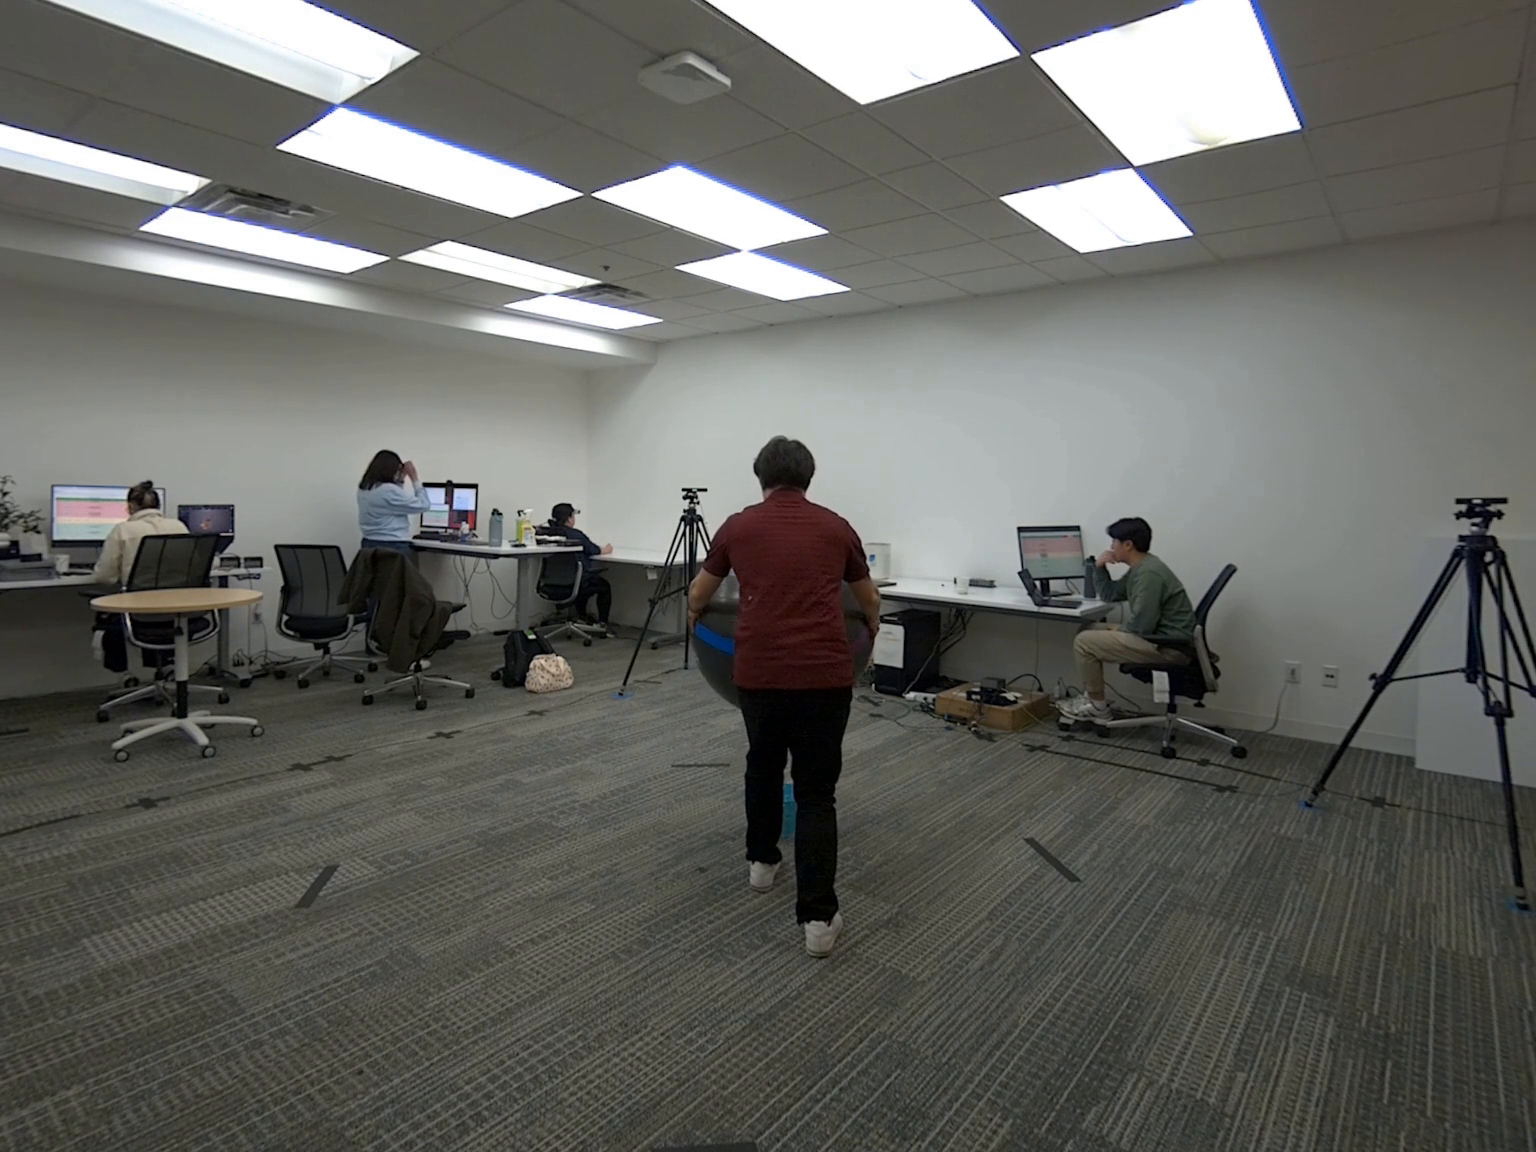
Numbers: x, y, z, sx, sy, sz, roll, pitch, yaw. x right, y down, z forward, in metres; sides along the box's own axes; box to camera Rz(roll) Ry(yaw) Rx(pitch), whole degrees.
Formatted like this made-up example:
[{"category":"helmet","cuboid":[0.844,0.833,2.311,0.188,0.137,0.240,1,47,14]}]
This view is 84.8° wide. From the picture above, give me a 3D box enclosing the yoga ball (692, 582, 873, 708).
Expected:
[{"category":"yoga ball","cuboid":[0.046,0.200,3.456,0.757,0.756,0.762,1,4,-2]}]
